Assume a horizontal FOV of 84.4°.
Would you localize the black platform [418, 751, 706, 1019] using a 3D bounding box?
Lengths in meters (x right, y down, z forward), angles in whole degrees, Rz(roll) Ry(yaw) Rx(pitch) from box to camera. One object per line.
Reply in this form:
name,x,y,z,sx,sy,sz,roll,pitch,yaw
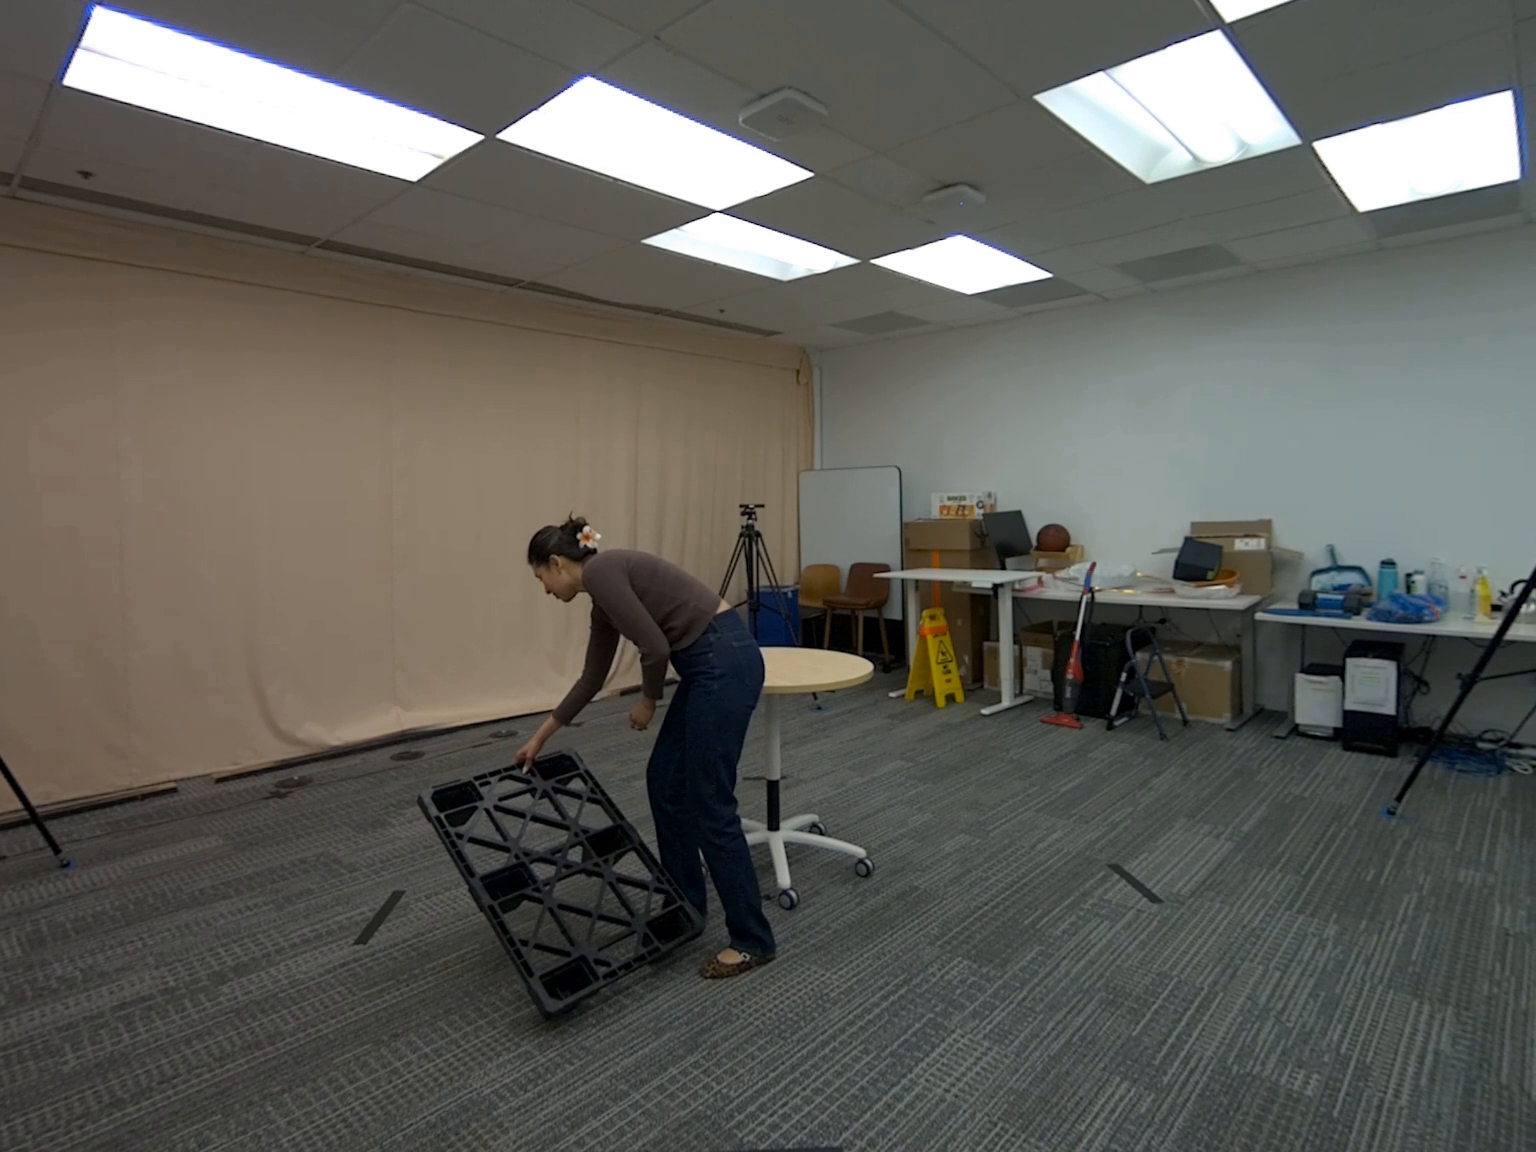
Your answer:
black platform,-0.664,0.925,2.630,0.587,0.143,0.832,-6,40,-48
